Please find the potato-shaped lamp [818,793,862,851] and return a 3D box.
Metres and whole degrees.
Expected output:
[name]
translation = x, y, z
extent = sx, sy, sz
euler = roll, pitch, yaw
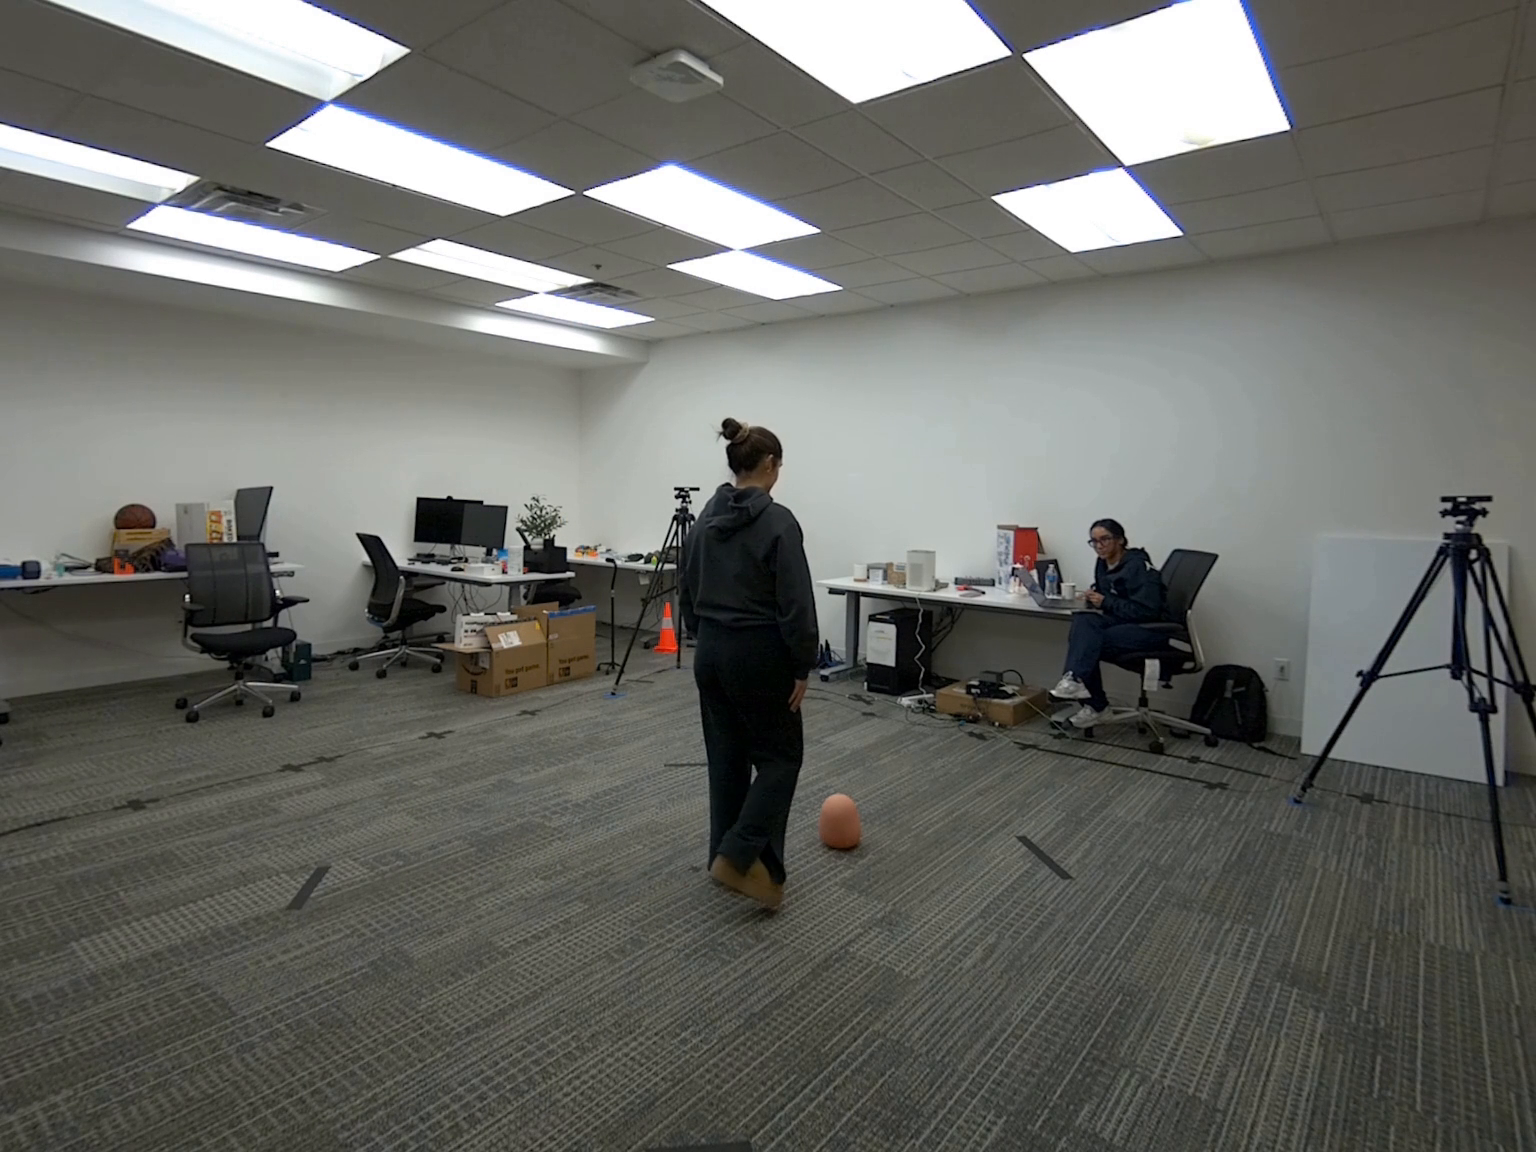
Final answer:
[potato-shaped lamp]
translation = 0.281, 0.952, 3.346
extent = 0.169, 0.197, 0.167
euler = 3, 5, 26
